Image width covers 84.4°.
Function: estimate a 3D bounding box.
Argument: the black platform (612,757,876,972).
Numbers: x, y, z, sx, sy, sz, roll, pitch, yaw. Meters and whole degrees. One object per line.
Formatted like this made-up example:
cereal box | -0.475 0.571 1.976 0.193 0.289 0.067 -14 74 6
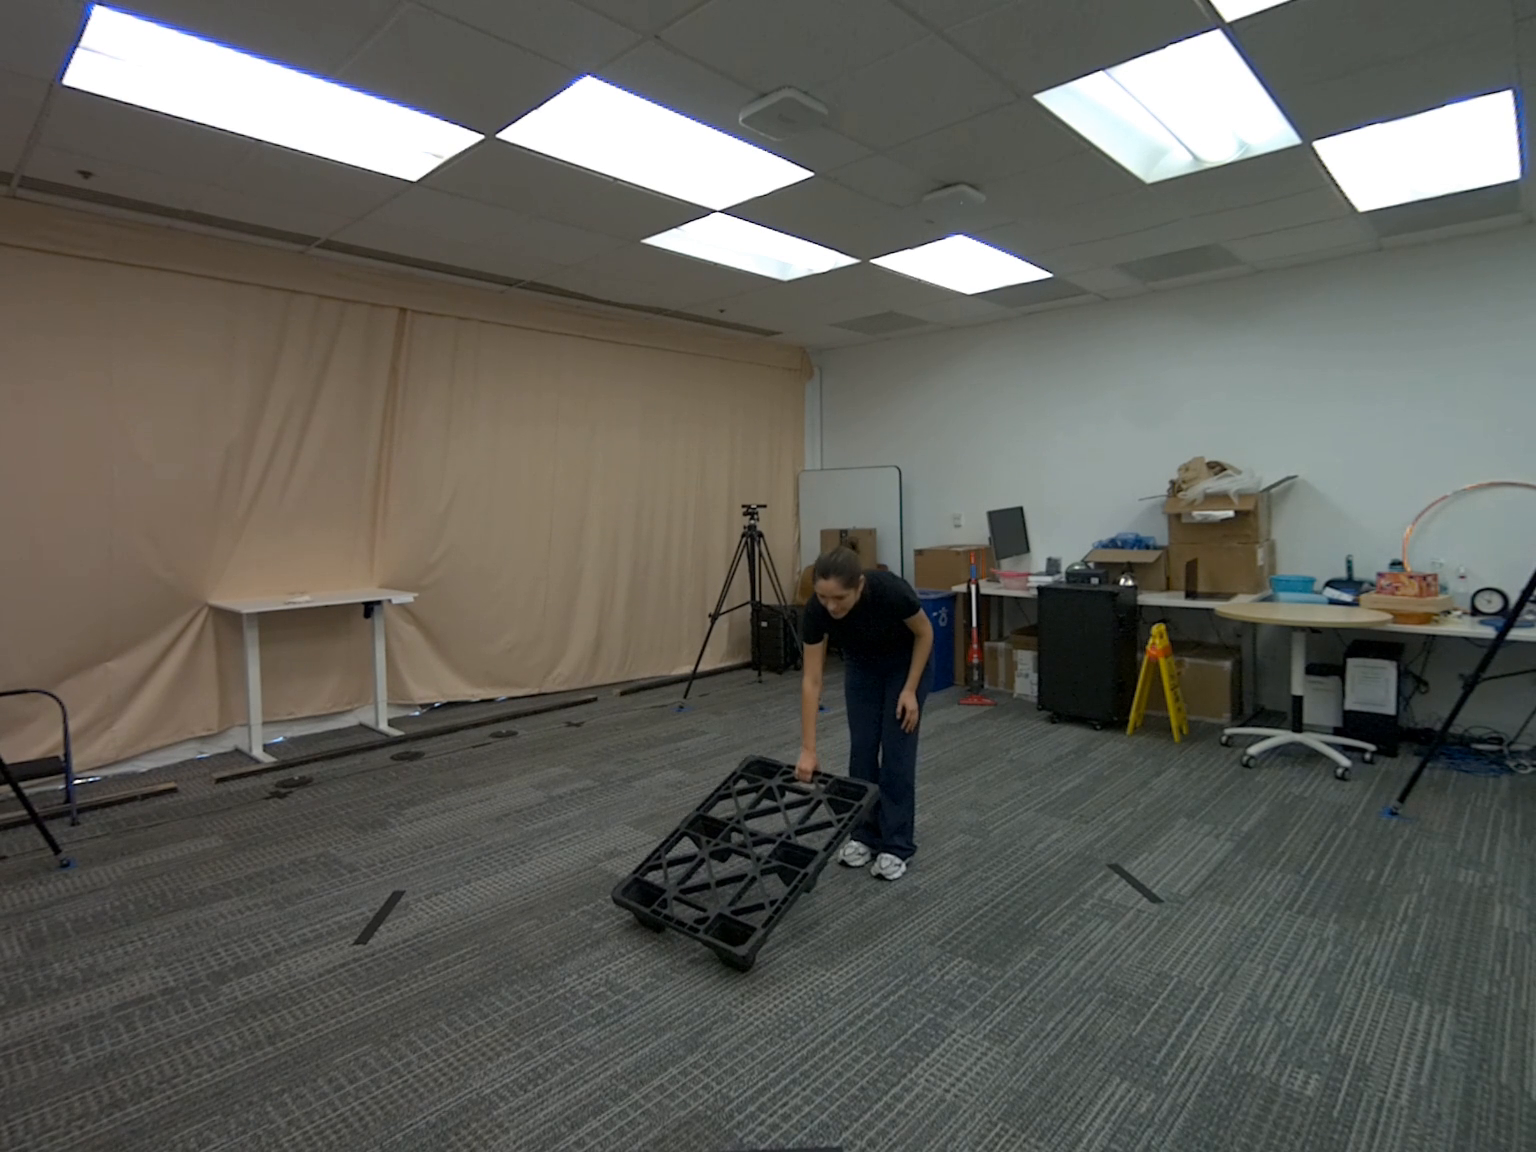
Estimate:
black platform | -0.032 0.952 2.880 0.625 0.141 0.794 4 30 40
